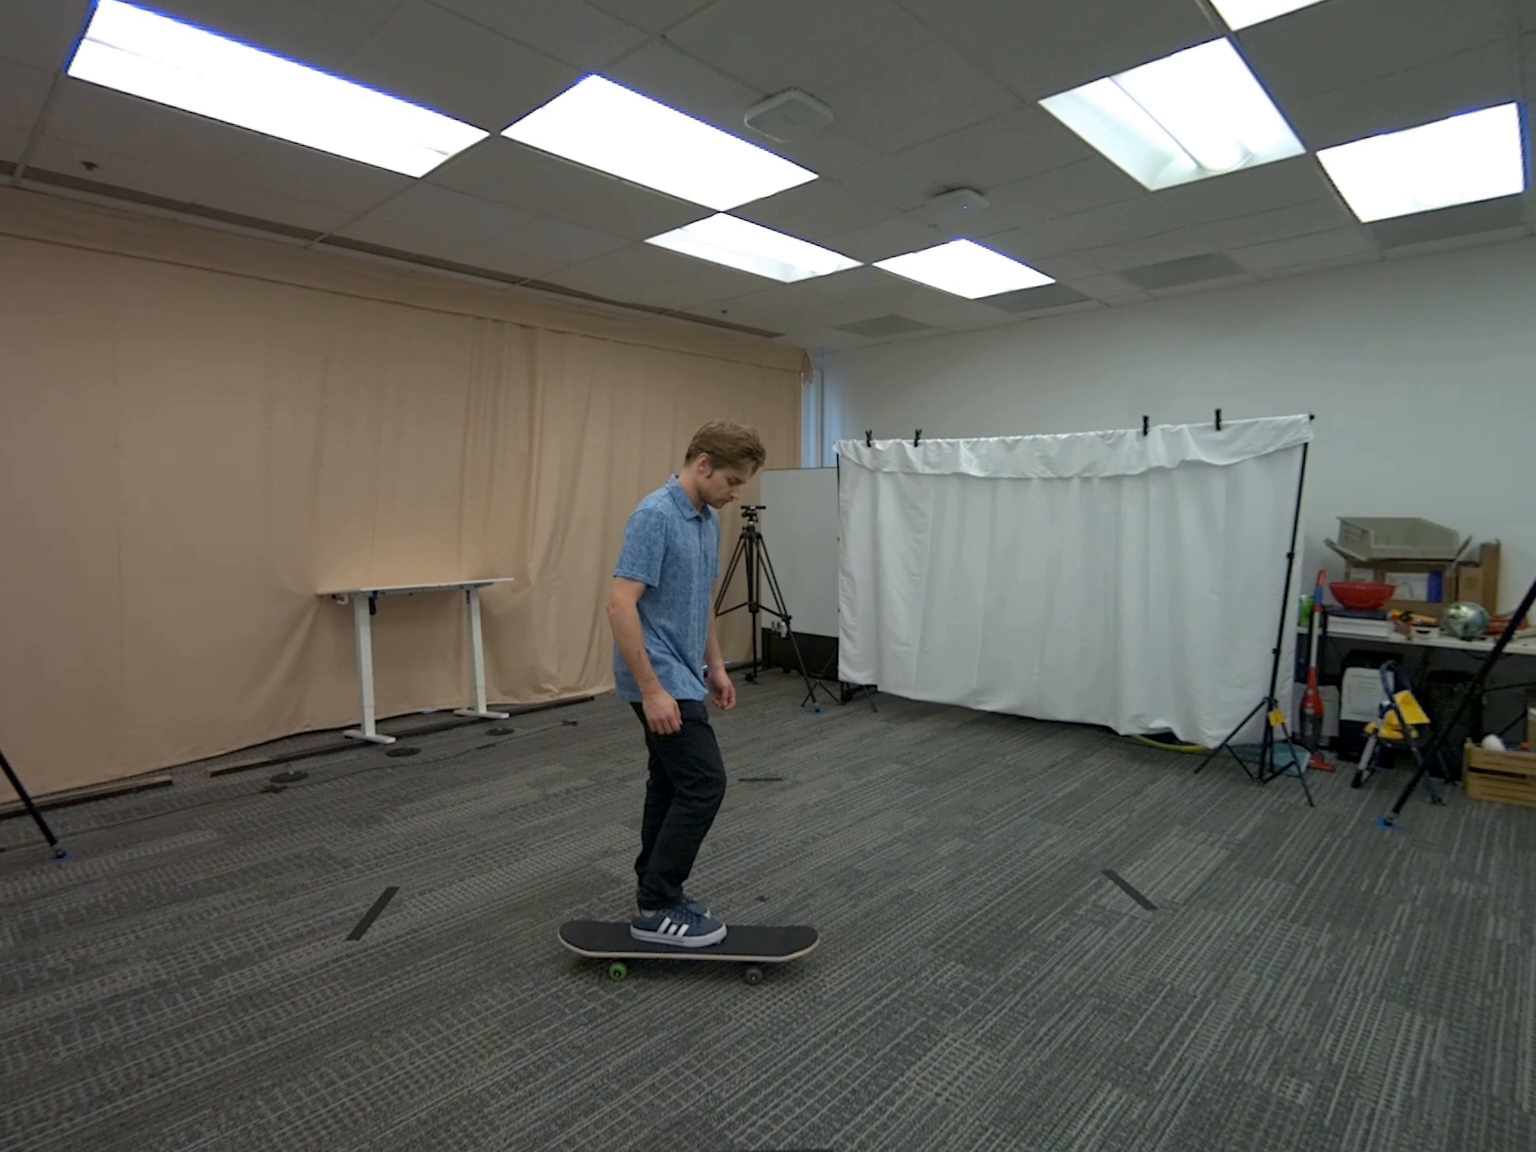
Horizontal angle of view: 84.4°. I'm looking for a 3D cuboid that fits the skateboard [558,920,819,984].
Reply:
[{"bbox_3d":[-0.236,1.122,2.545,0.788,0.110,0.193,0,2,3],"label":"skateboard"}]
